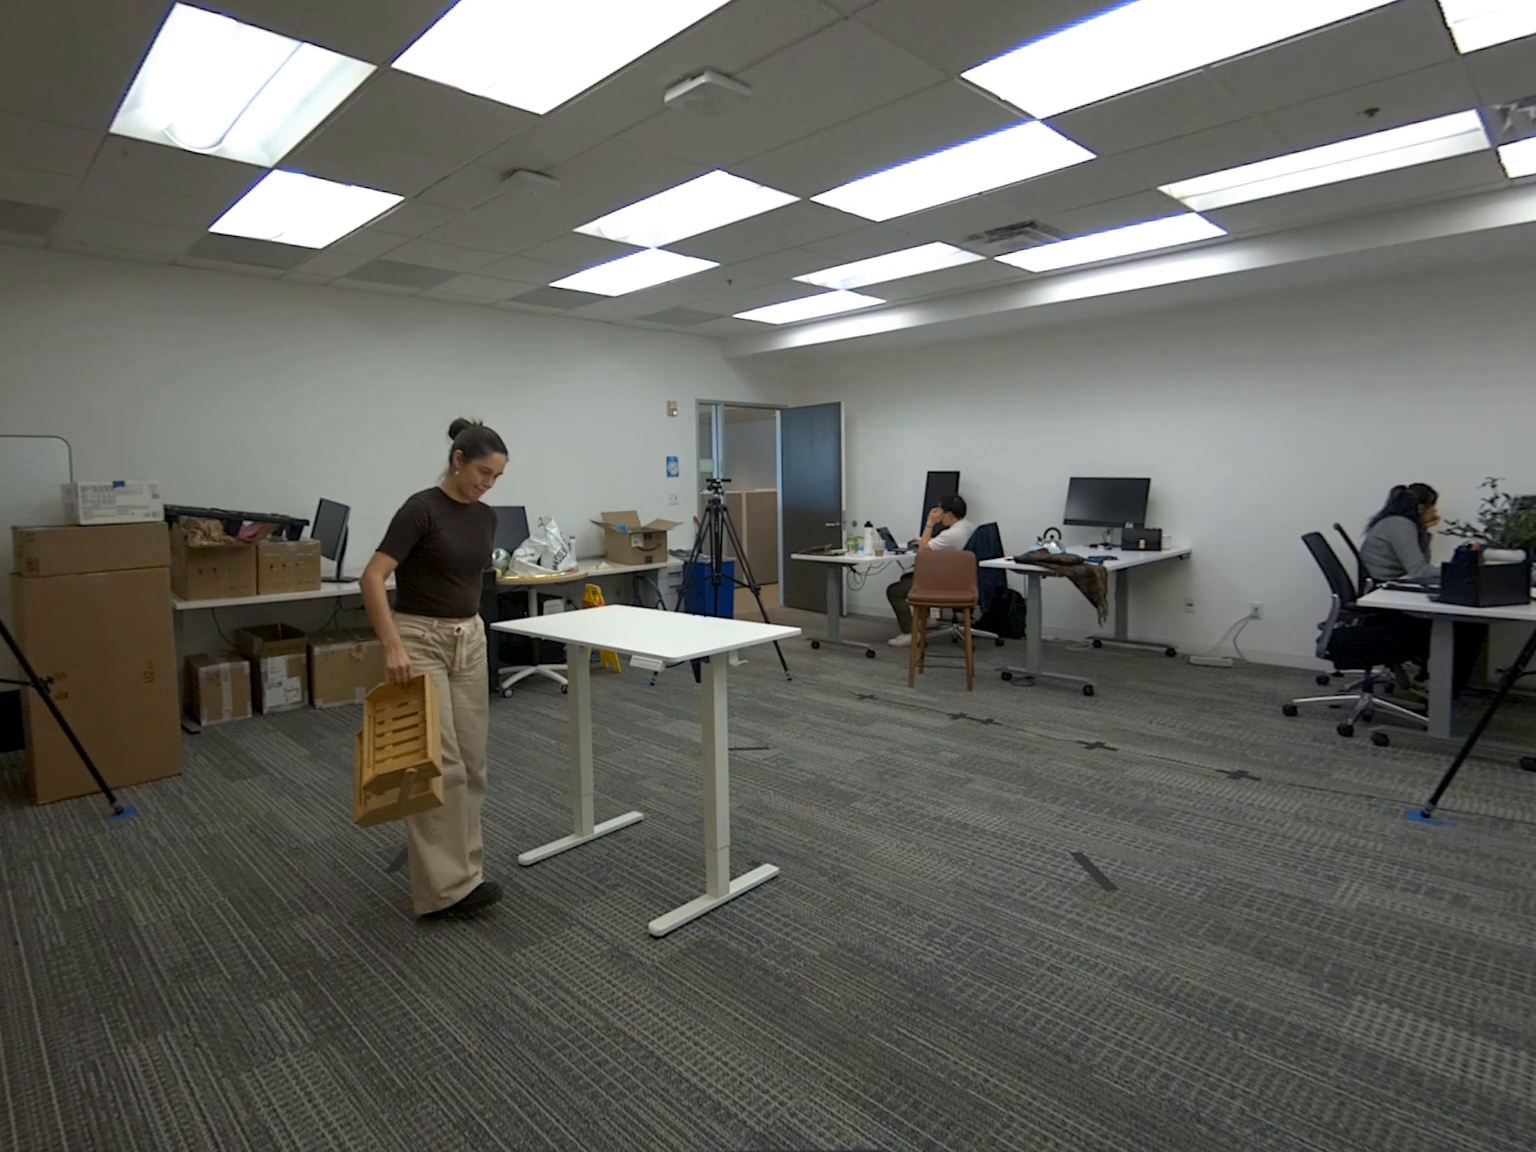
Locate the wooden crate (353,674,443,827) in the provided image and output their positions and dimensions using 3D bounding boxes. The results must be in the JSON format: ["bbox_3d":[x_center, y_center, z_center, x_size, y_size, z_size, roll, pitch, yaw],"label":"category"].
[{"bbox_3d":[-1.091,0.503,2.526,0.301,0.335,0.265,-12,-40,-5],"label":"wooden crate"}]
